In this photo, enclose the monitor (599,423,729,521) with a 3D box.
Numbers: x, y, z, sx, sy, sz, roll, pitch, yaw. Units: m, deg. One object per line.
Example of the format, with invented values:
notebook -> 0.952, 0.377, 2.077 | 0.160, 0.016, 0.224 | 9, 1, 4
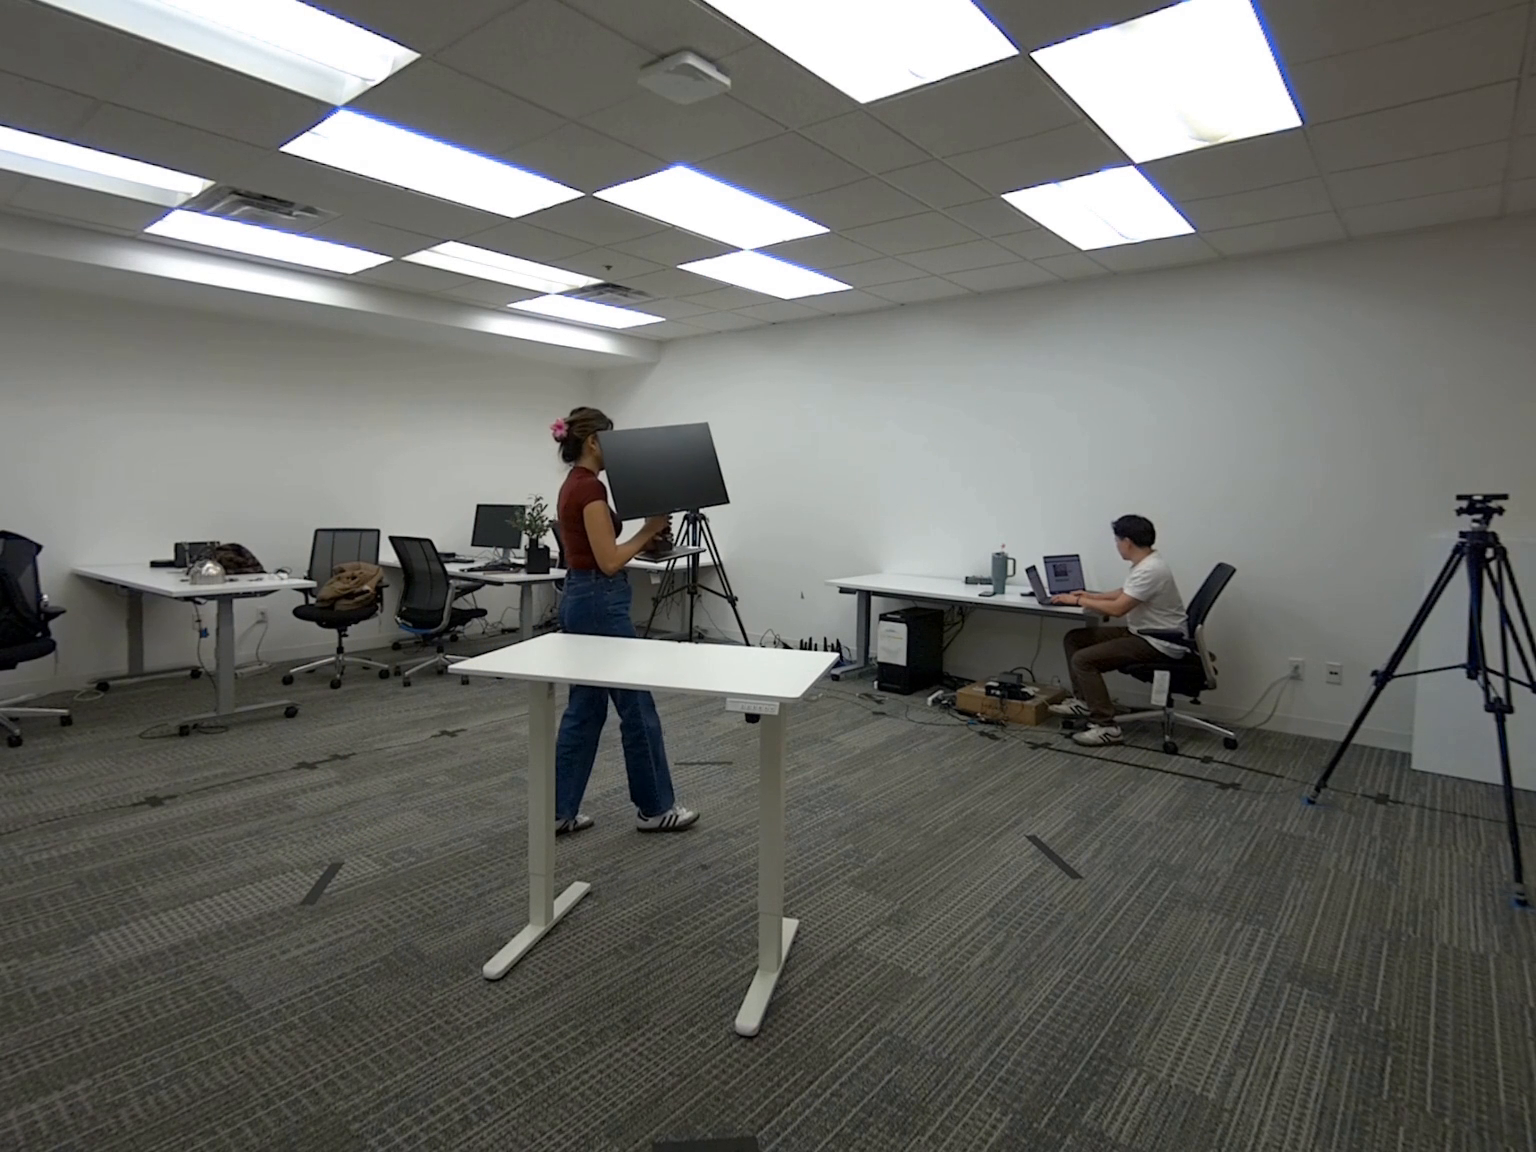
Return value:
monitor -> -0.425, -0.336, 3.380 | 0.526, 0.519, 0.193 | -13, 8, -40
